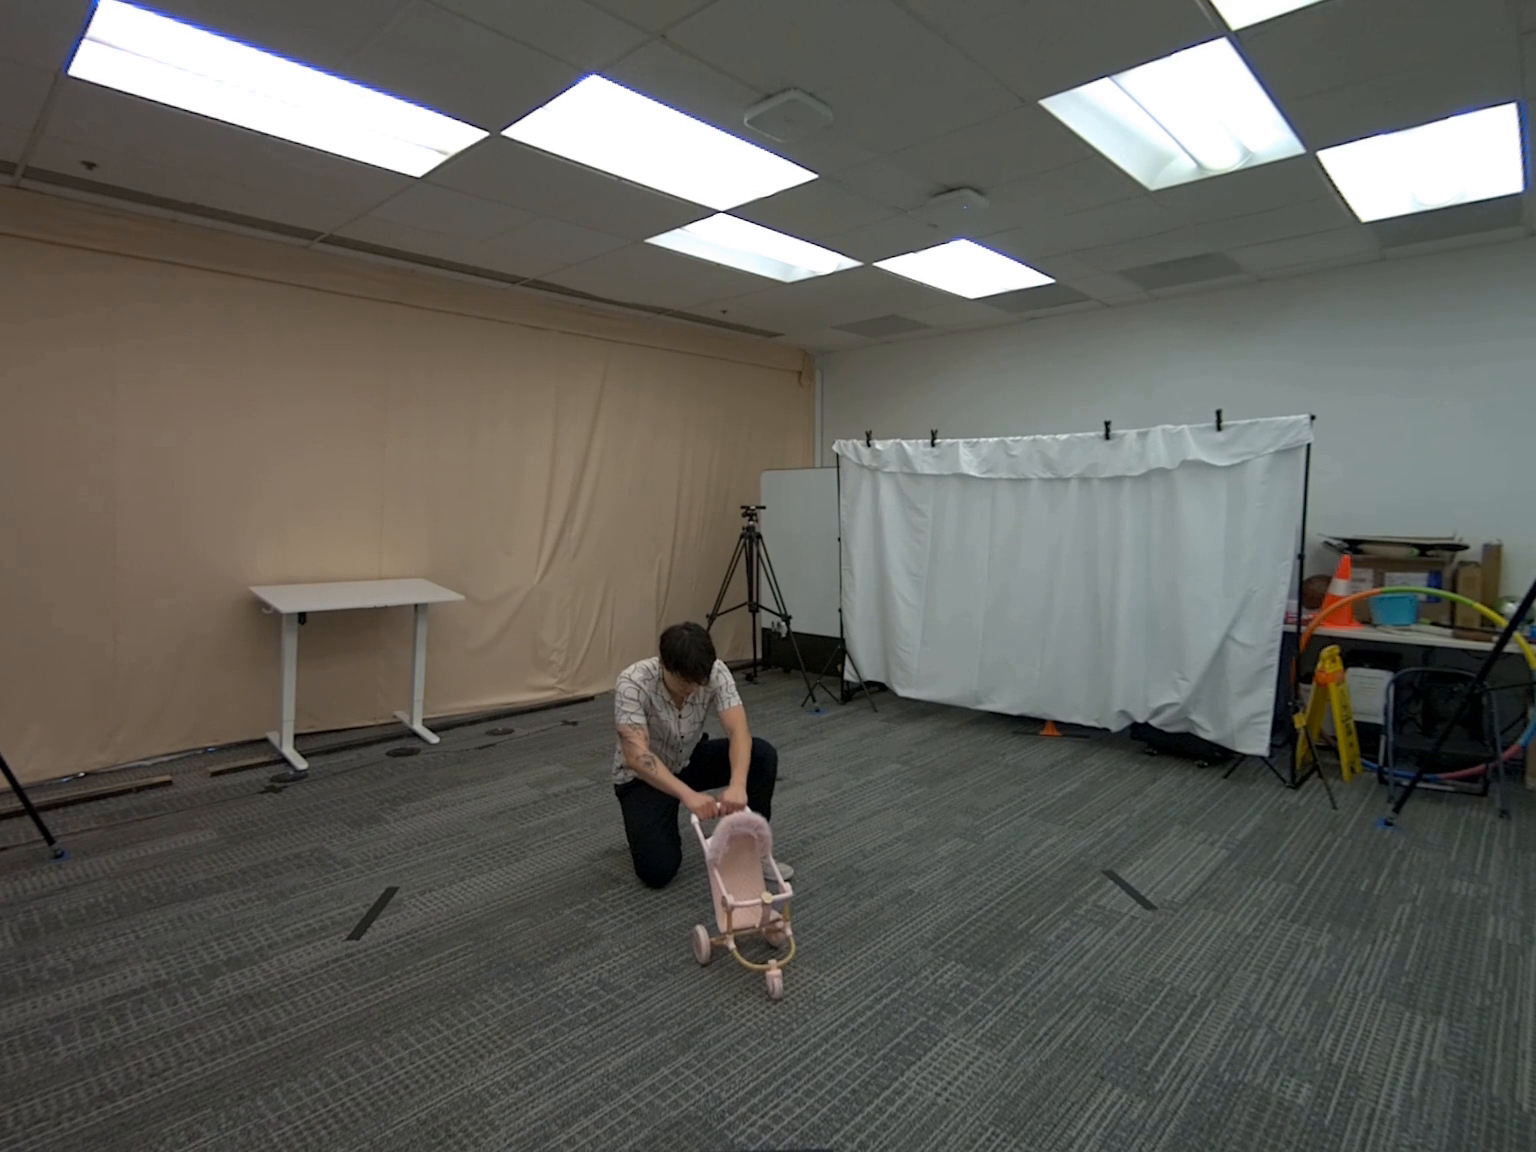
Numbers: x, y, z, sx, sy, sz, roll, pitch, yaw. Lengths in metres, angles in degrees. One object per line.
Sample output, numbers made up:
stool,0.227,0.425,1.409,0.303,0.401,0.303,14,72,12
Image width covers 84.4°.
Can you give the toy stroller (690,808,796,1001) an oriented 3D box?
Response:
toy stroller,-0.069,0.951,2.559,0.276,0.540,0.345,-1,-13,-21
